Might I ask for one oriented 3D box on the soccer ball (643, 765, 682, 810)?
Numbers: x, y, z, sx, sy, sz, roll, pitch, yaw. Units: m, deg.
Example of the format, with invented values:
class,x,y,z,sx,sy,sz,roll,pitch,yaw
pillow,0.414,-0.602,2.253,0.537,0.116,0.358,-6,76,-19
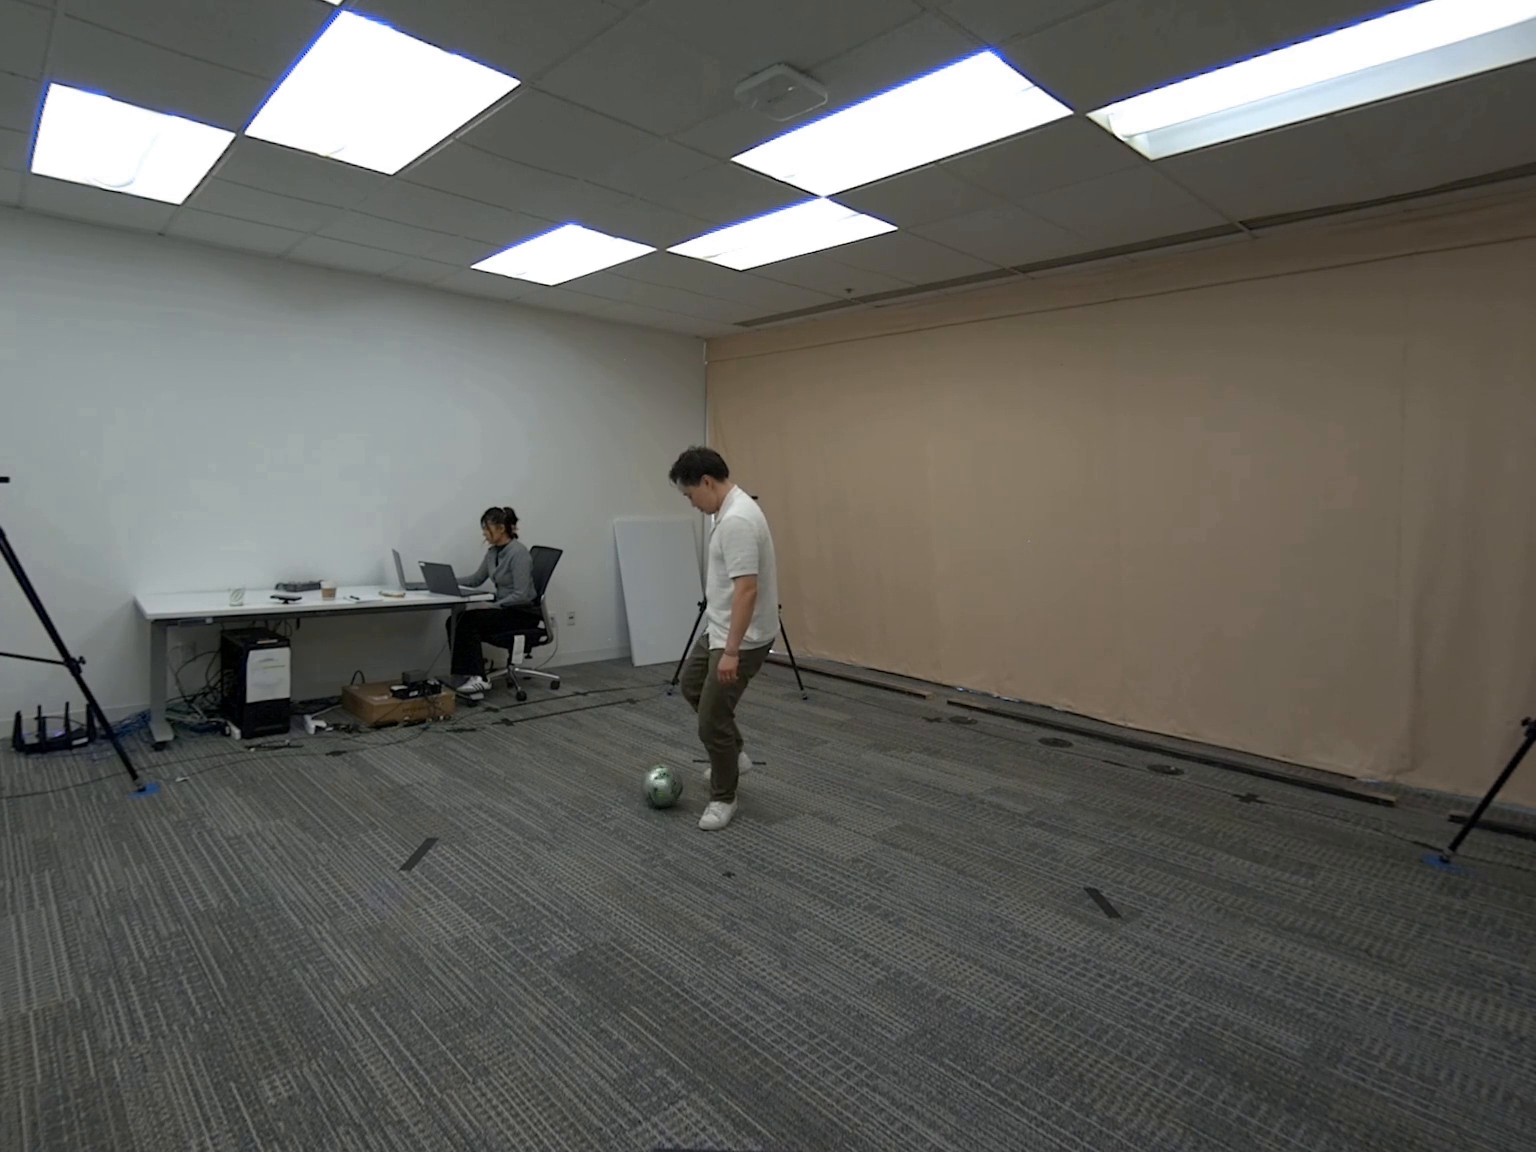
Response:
class,x,y,z,sx,sy,sz,roll,pitch,yaw
soccer ball,-0.485,0.936,3.765,0.187,0.187,0.188,1,4,-1
